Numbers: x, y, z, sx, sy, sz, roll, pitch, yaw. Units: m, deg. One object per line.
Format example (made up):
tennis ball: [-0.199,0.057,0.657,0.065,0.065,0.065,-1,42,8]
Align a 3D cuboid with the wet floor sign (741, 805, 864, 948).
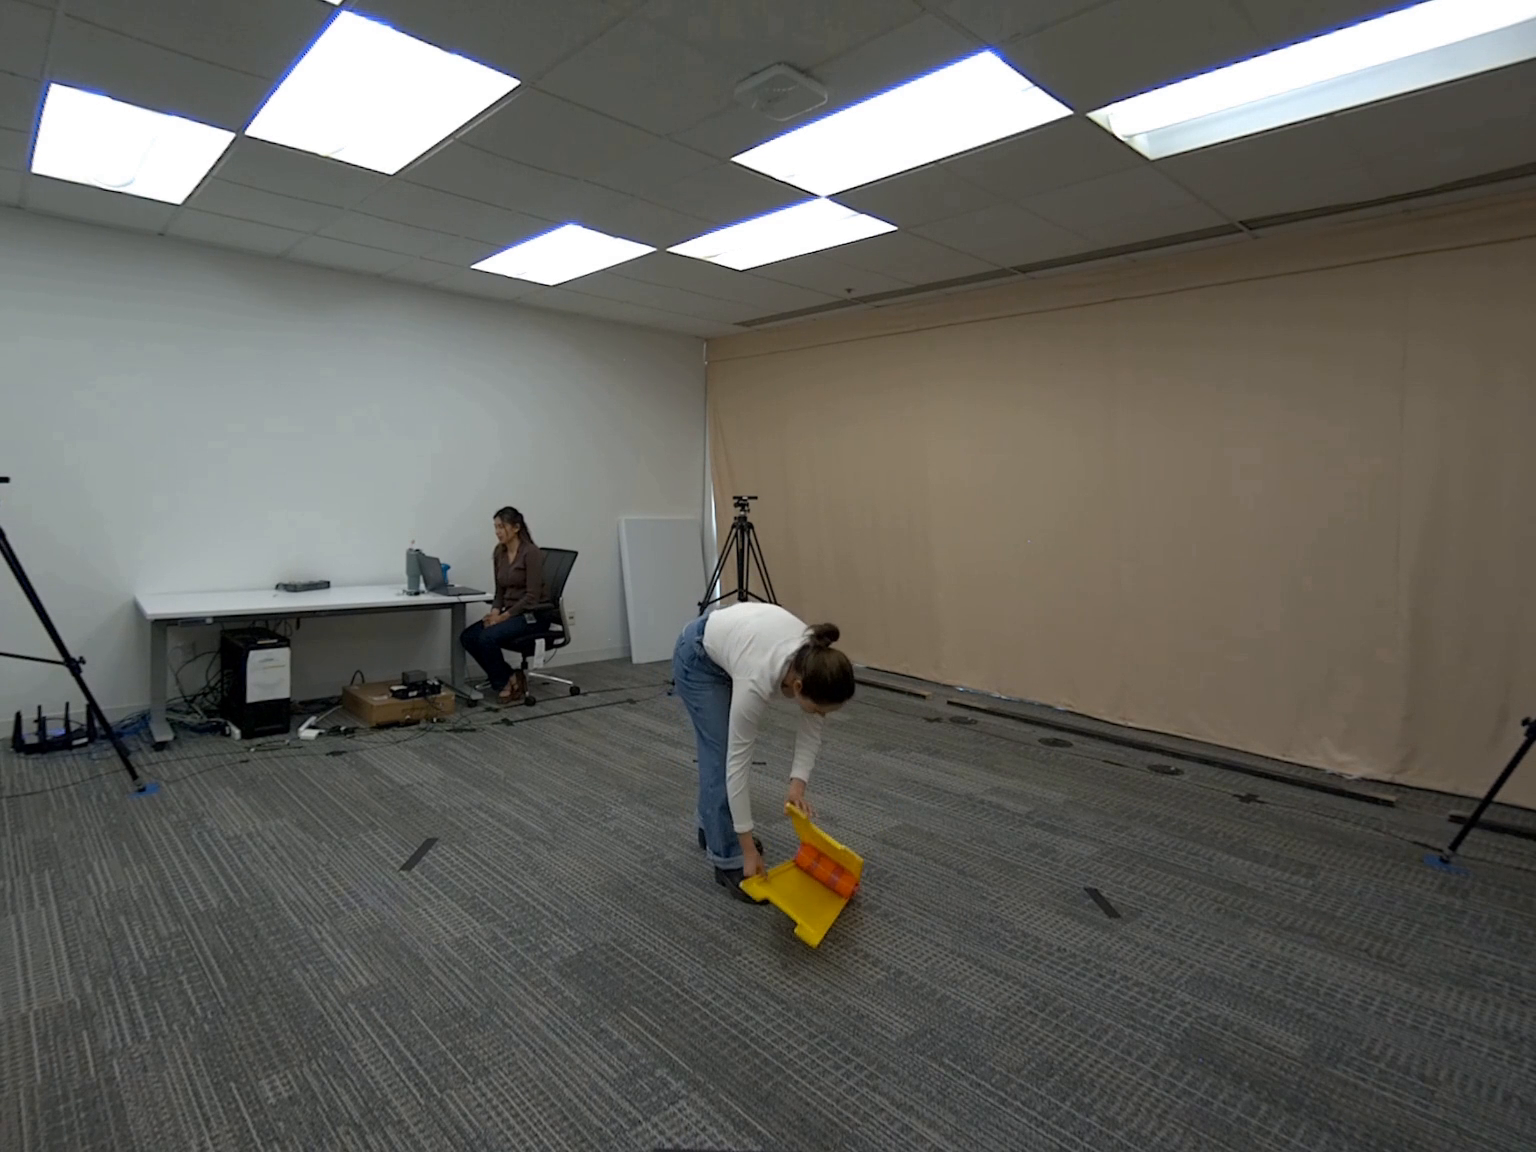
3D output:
wet floor sign: [0.160,0.974,2.772,0.288,0.290,0.631,30,-8,21]
